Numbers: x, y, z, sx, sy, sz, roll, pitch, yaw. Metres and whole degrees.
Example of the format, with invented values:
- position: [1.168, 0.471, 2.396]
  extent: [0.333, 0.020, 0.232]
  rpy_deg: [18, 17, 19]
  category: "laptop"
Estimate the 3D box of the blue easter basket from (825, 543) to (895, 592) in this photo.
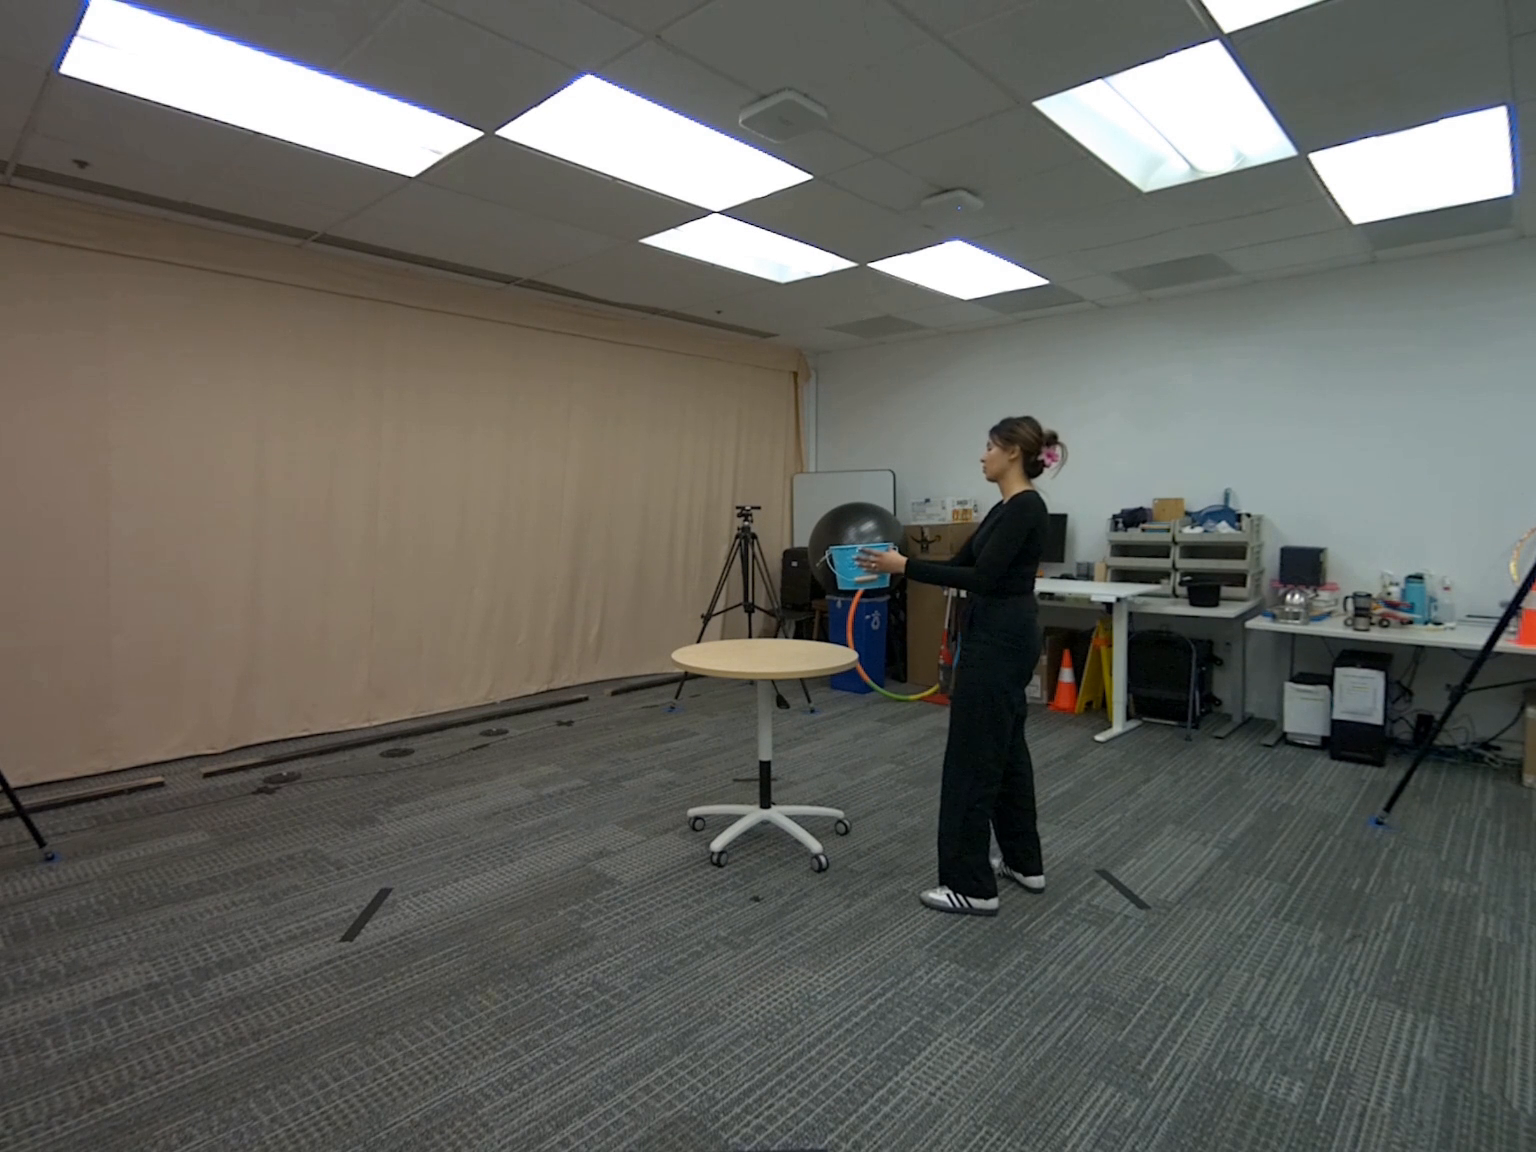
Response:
- position: [0.347, -0.033, 3.038]
  extent: [0.243, 0.155, 0.244]
  rpy_deg: [-2, 4, -2]
  category: "blue easter basket"
